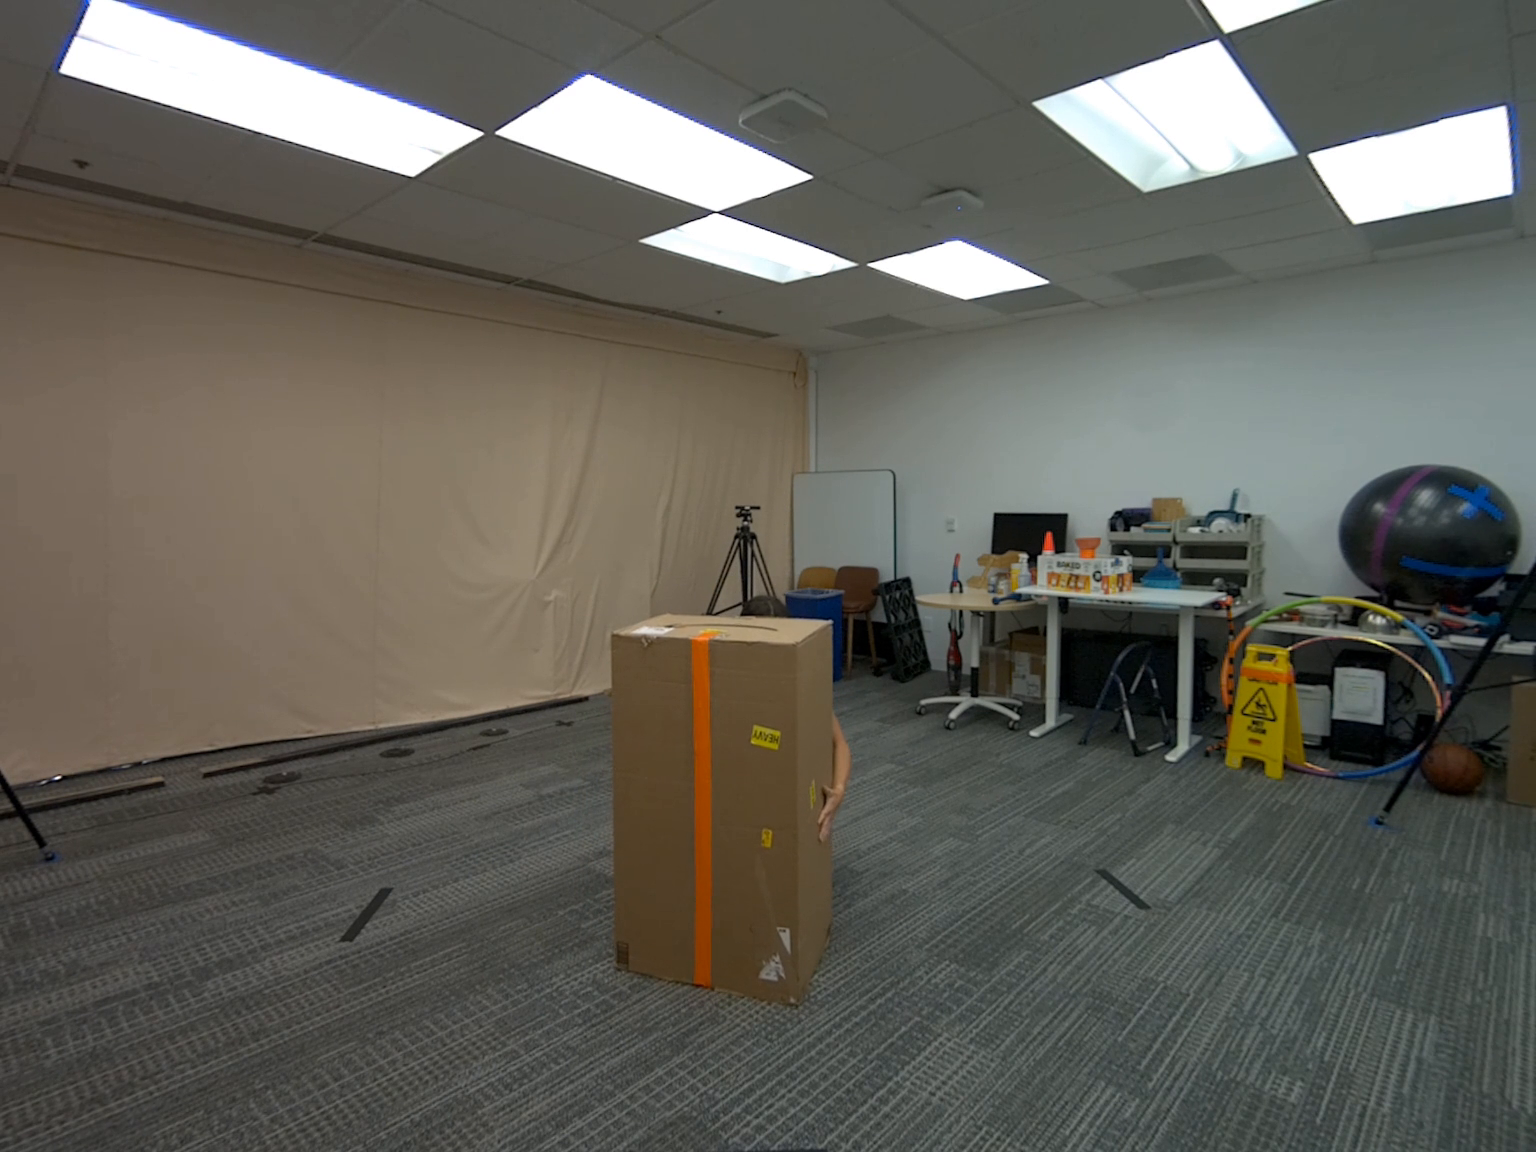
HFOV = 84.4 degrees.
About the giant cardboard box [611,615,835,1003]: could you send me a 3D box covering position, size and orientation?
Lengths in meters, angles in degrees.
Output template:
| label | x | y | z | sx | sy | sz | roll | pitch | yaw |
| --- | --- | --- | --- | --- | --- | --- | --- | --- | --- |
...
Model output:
| label | x | y | z | sx | sy | sz | roll | pitch | yaw |
| --- | --- | --- | --- | --- | --- | --- | --- | --- | --- |
| giant cardboard box | -0.128 | 0.657 | 2.599 | 0.589 | 1.023 | 0.418 | 1 | 4 | 19 |
